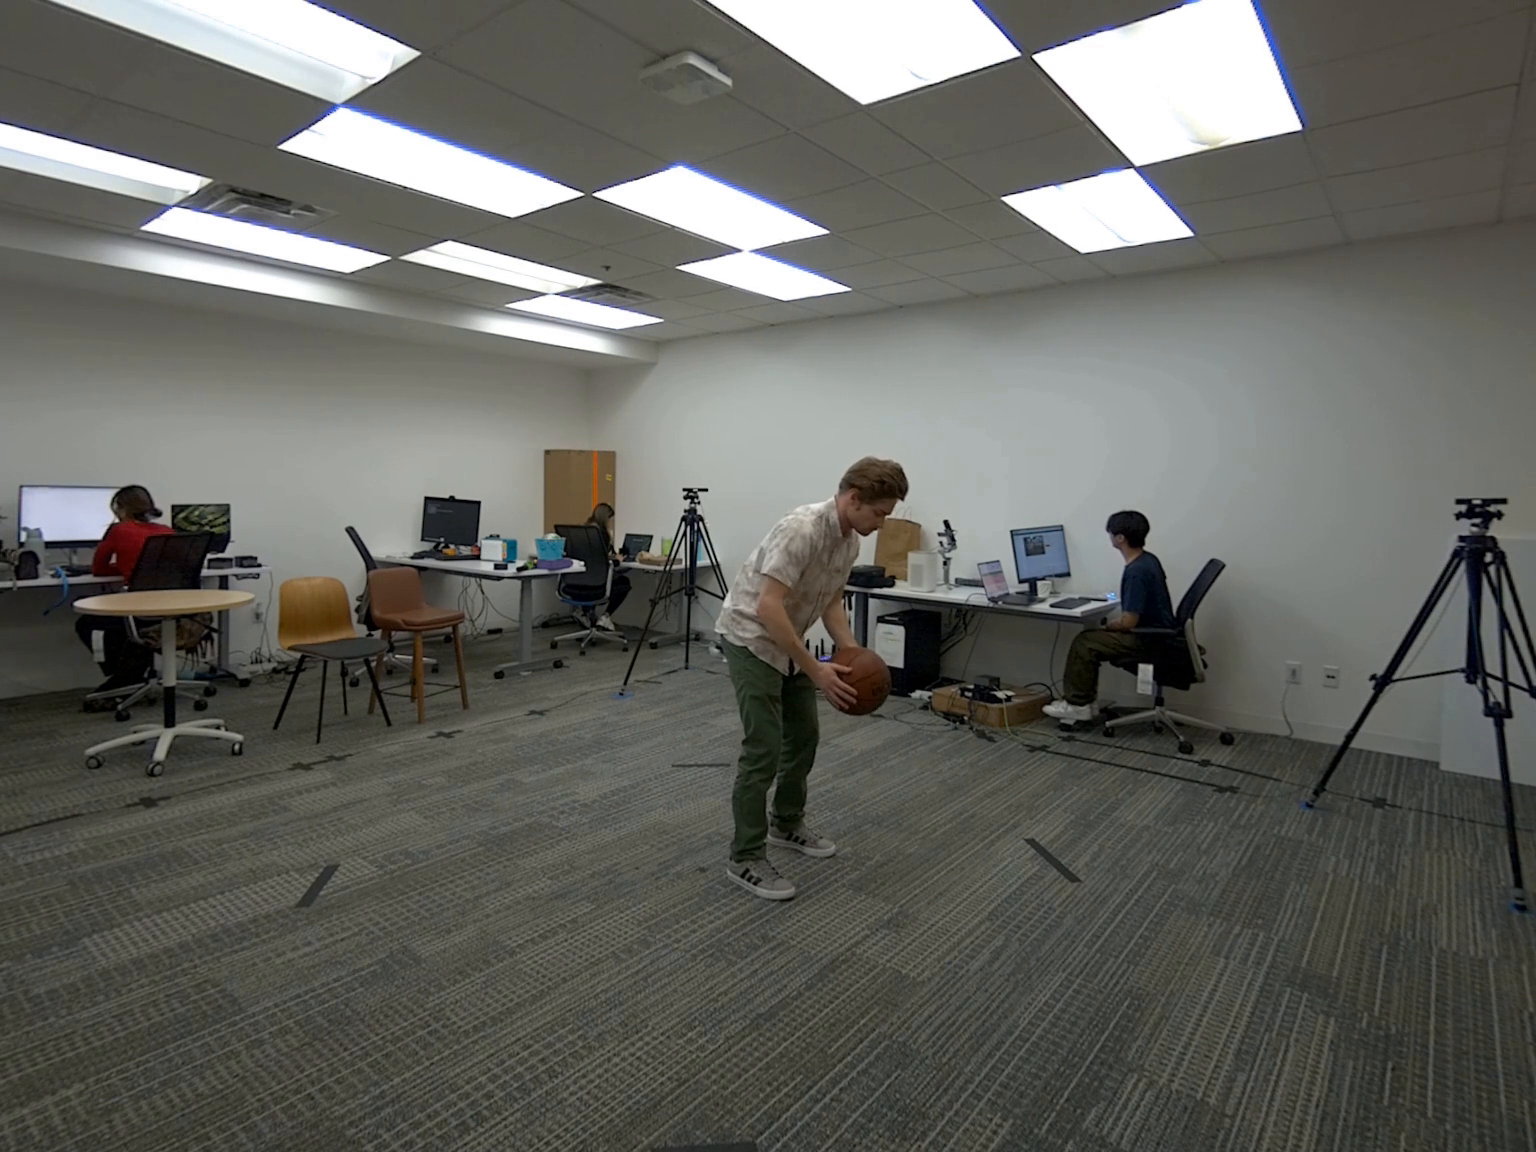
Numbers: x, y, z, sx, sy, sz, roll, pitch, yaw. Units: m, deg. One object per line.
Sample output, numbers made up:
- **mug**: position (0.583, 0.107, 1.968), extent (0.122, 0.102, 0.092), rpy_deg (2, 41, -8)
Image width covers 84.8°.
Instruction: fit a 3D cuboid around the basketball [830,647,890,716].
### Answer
- **basketball**: position (0.304, 0.365, 2.958), extent (0.236, 0.235, 0.237), rpy_deg (1, 4, -2)
